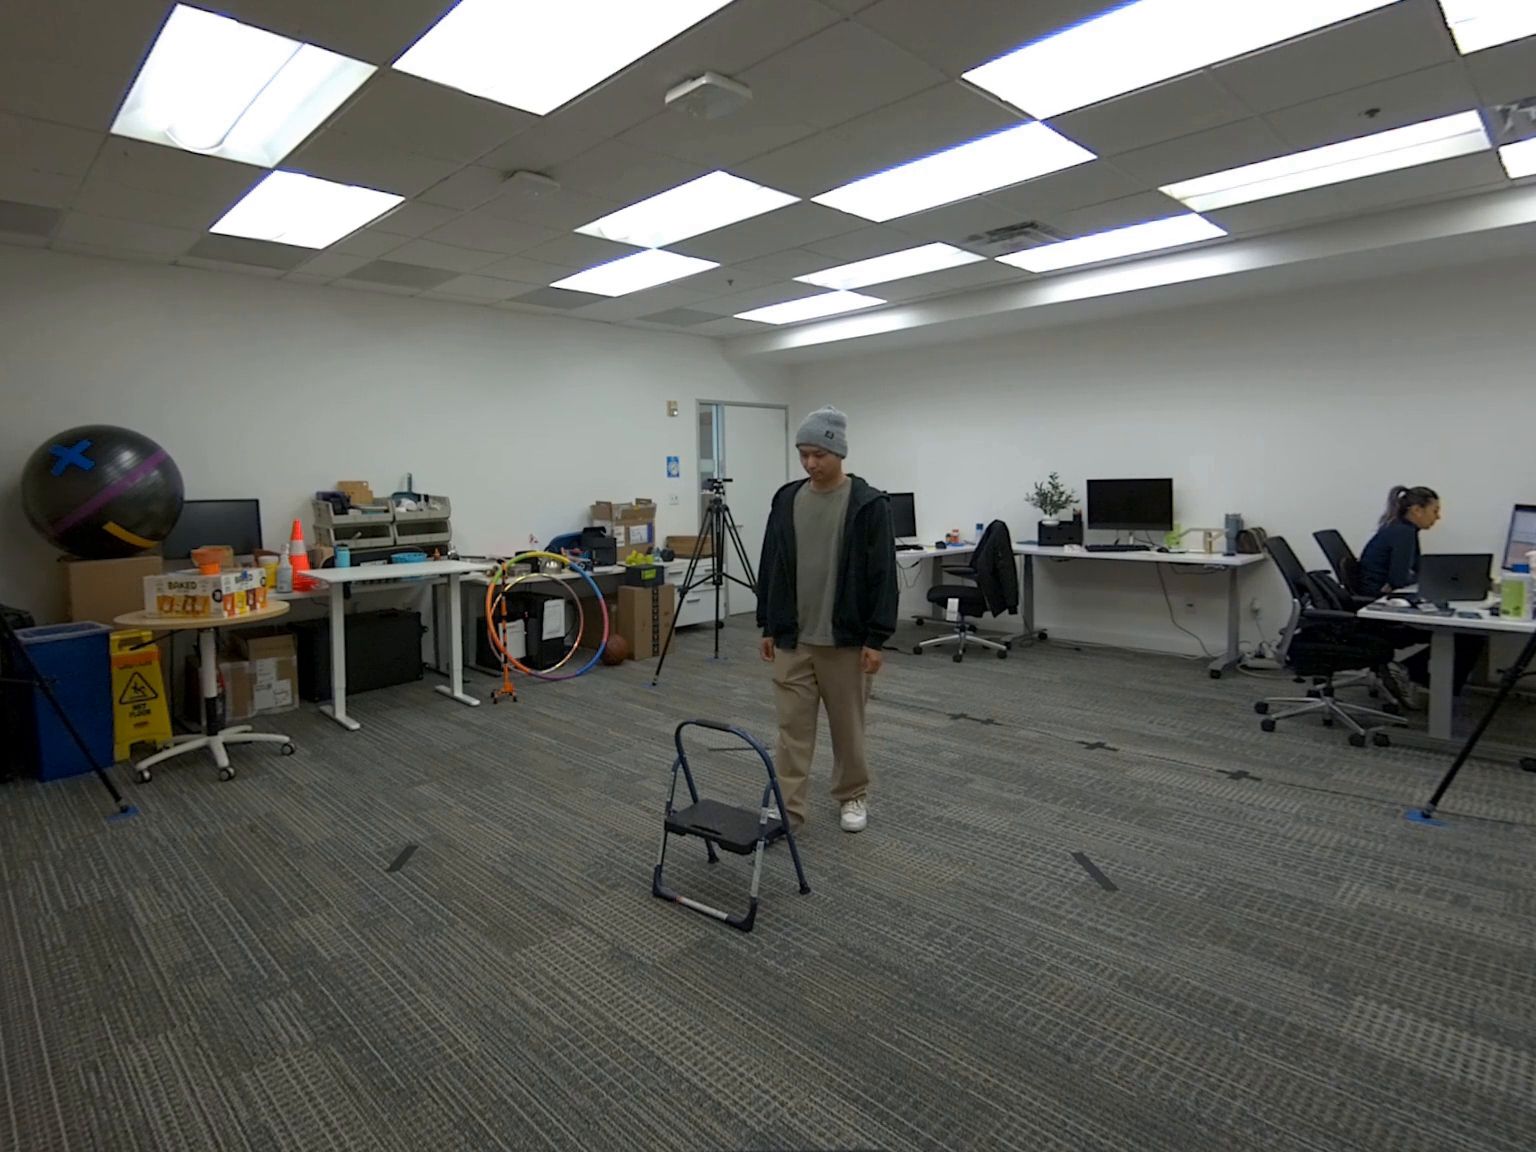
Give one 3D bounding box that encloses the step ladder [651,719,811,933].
[{"bbox_3d":[-0.132,0.770,2.869,0.443,0.604,0.340,2,5,36],"label":"step ladder"}]
